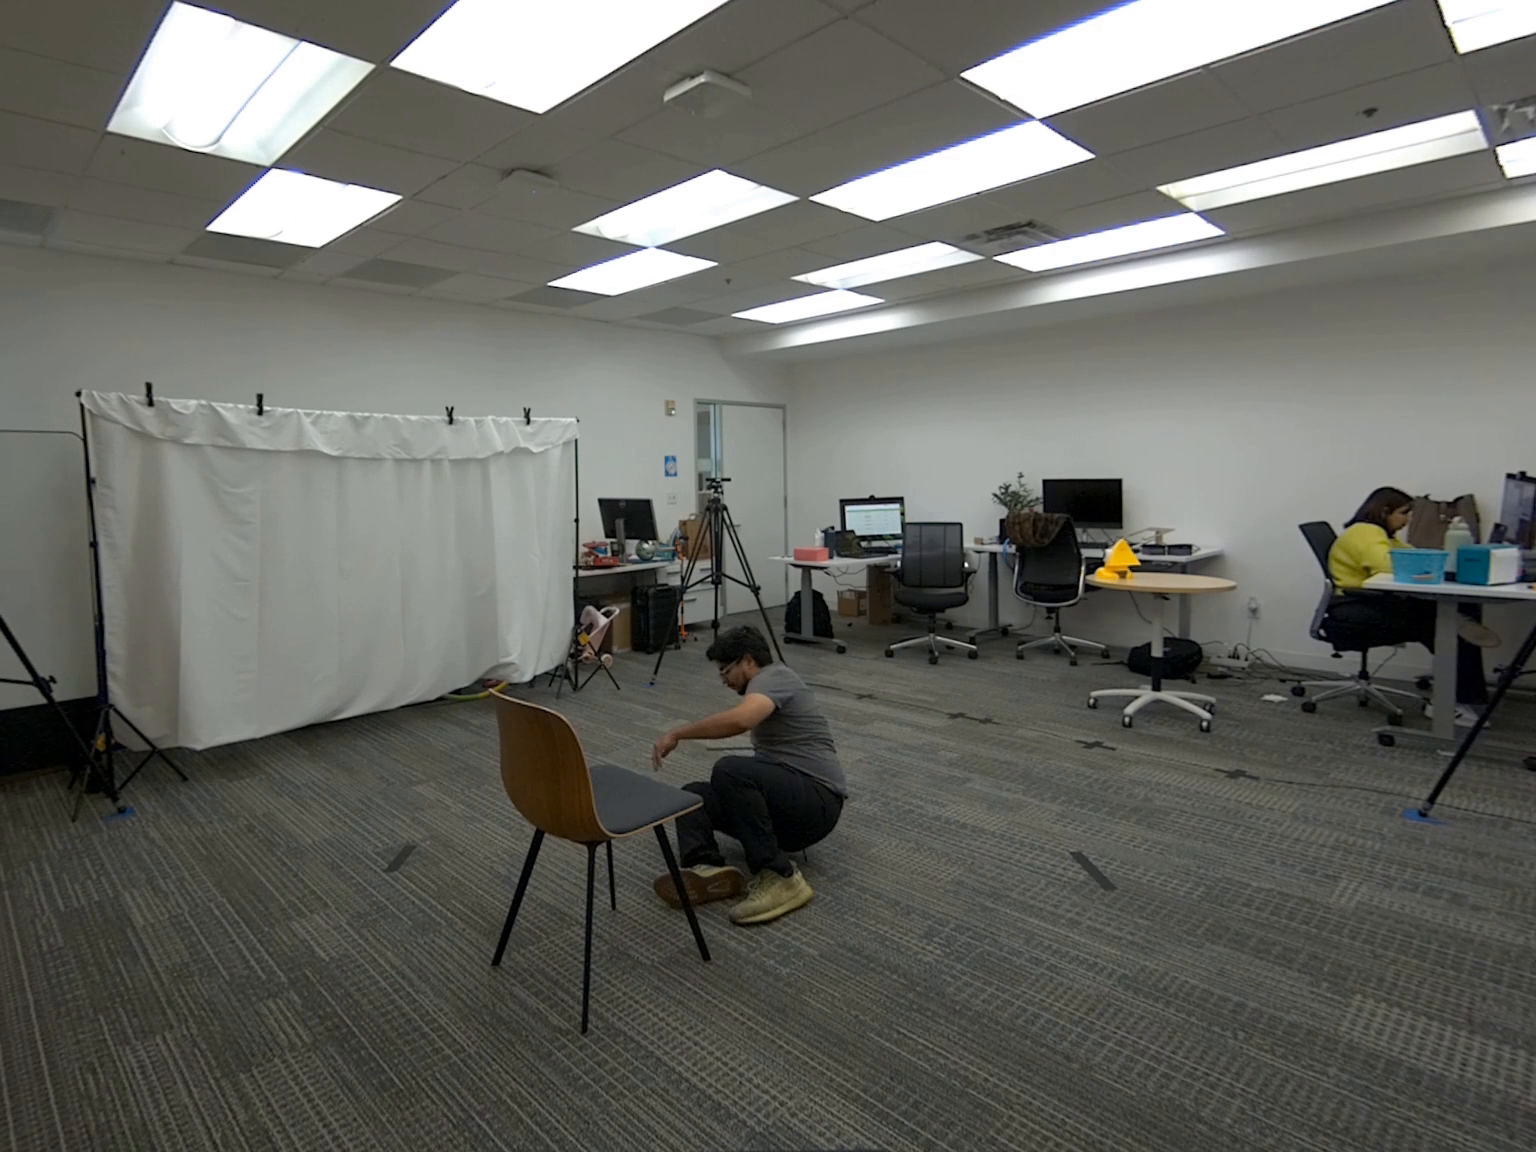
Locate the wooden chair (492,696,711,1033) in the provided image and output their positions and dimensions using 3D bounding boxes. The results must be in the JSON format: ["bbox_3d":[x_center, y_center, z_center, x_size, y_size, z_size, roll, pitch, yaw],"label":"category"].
[{"bbox_3d":[-0.483,0.702,2.453,0.493,0.871,0.511,3,10,44],"label":"wooden chair"}]
